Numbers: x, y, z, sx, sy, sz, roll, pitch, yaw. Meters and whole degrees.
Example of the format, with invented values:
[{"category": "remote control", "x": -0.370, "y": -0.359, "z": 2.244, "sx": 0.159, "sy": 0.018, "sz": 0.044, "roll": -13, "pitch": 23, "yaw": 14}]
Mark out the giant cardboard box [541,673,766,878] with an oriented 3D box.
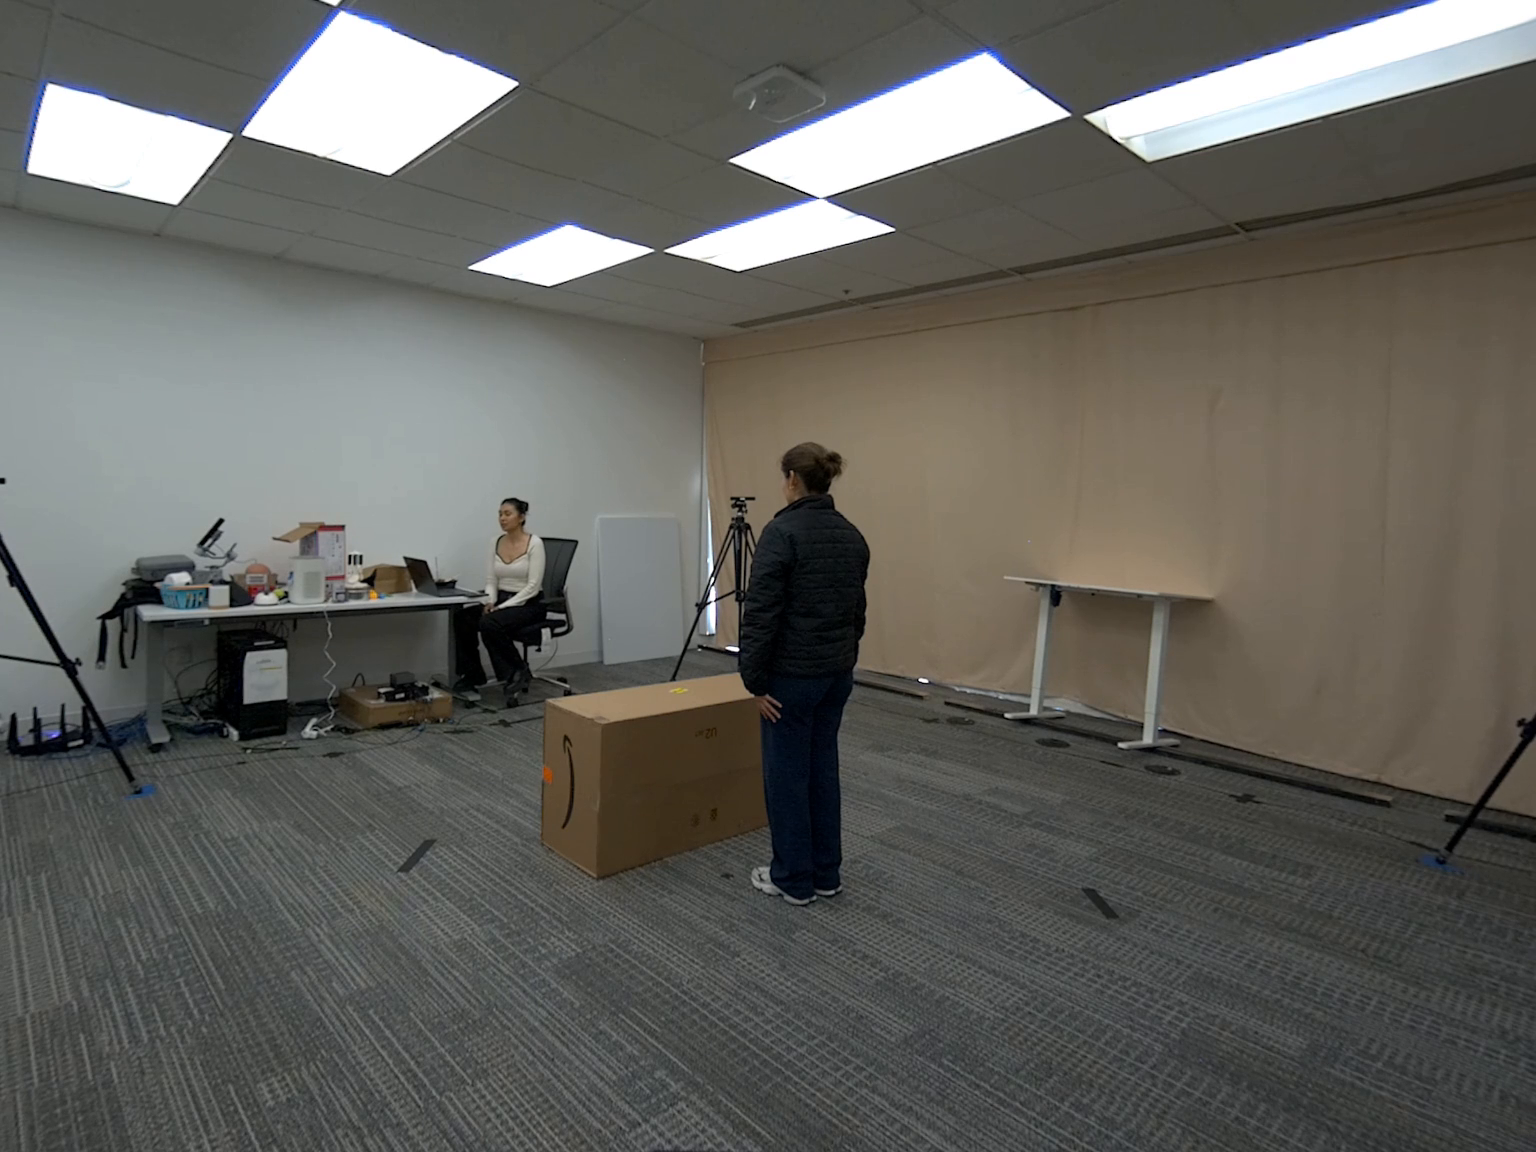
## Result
[{"category": "giant cardboard box", "x": -0.387, "y": 0.782, "z": 3.513, "sx": 1.003, "sy": 0.583, "sz": 0.458, "roll": -2, "pitch": 4, "yaw": -42}]
